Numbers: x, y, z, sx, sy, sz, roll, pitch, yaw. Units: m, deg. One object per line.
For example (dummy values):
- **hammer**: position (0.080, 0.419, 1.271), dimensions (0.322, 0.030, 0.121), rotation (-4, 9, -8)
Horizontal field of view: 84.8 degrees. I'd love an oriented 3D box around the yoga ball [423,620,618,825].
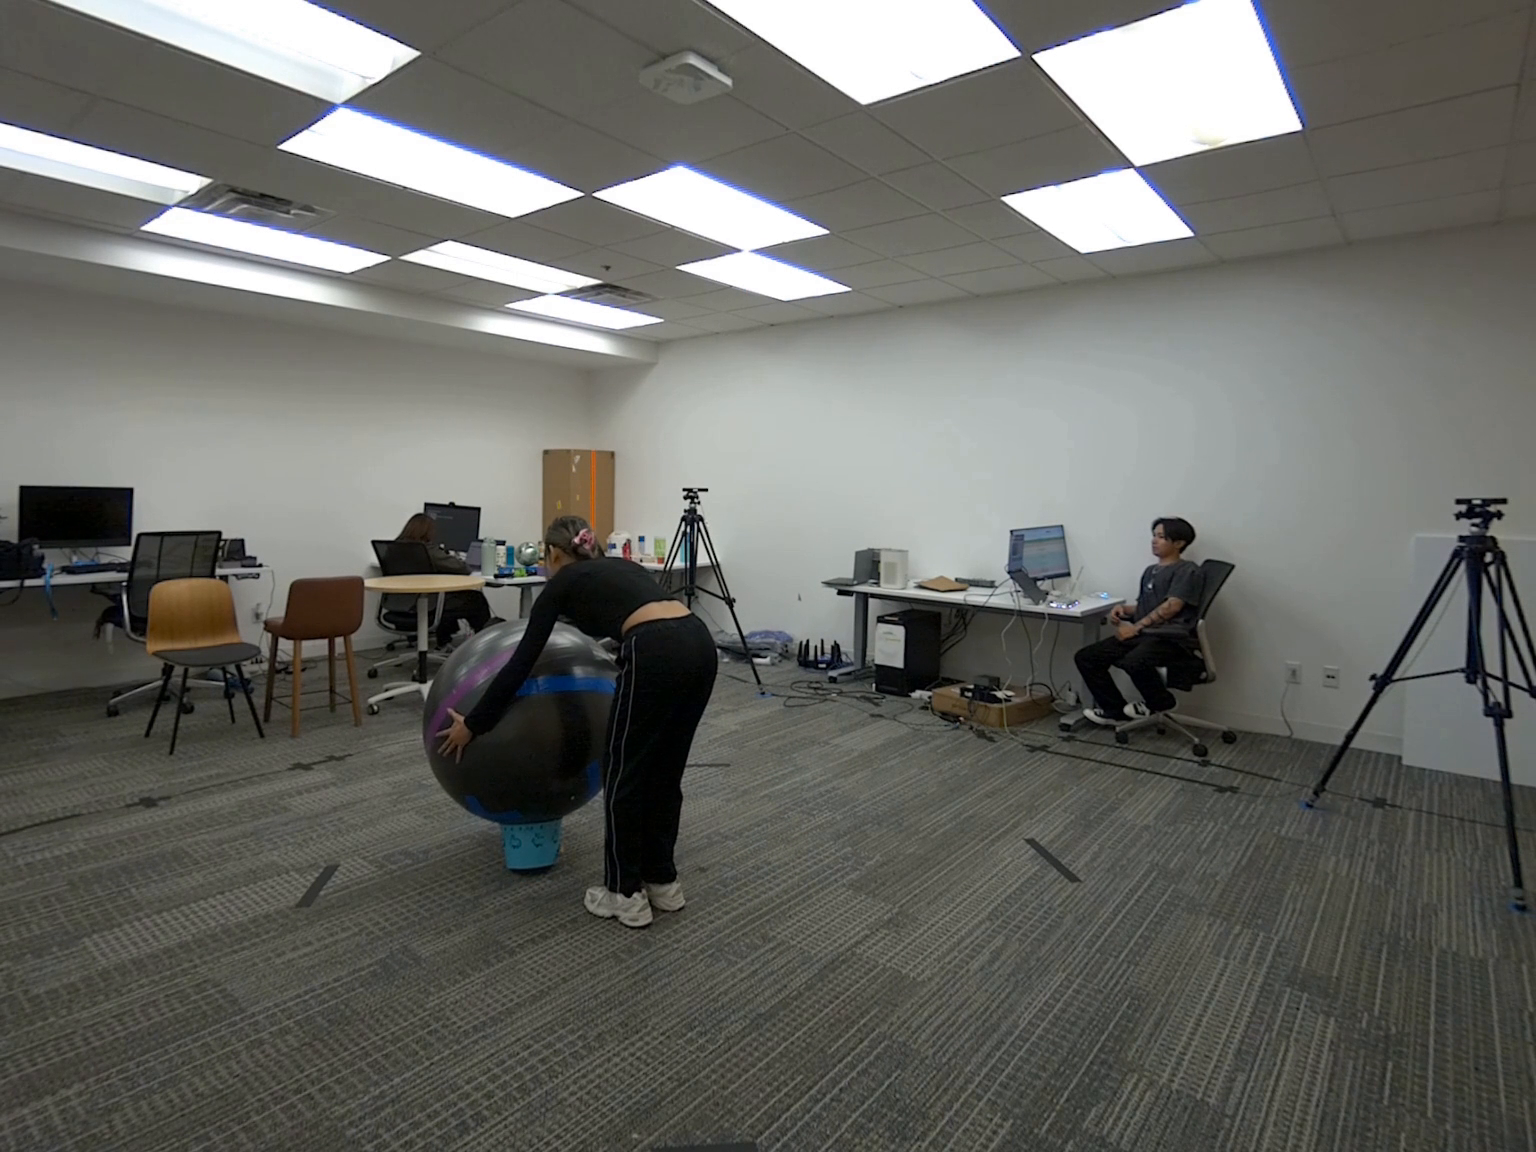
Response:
- **yoga ball**: position (-0.915, 0.539, 3.190), dimensions (0.757, 0.755, 0.762), rotation (1, 4, -2)
